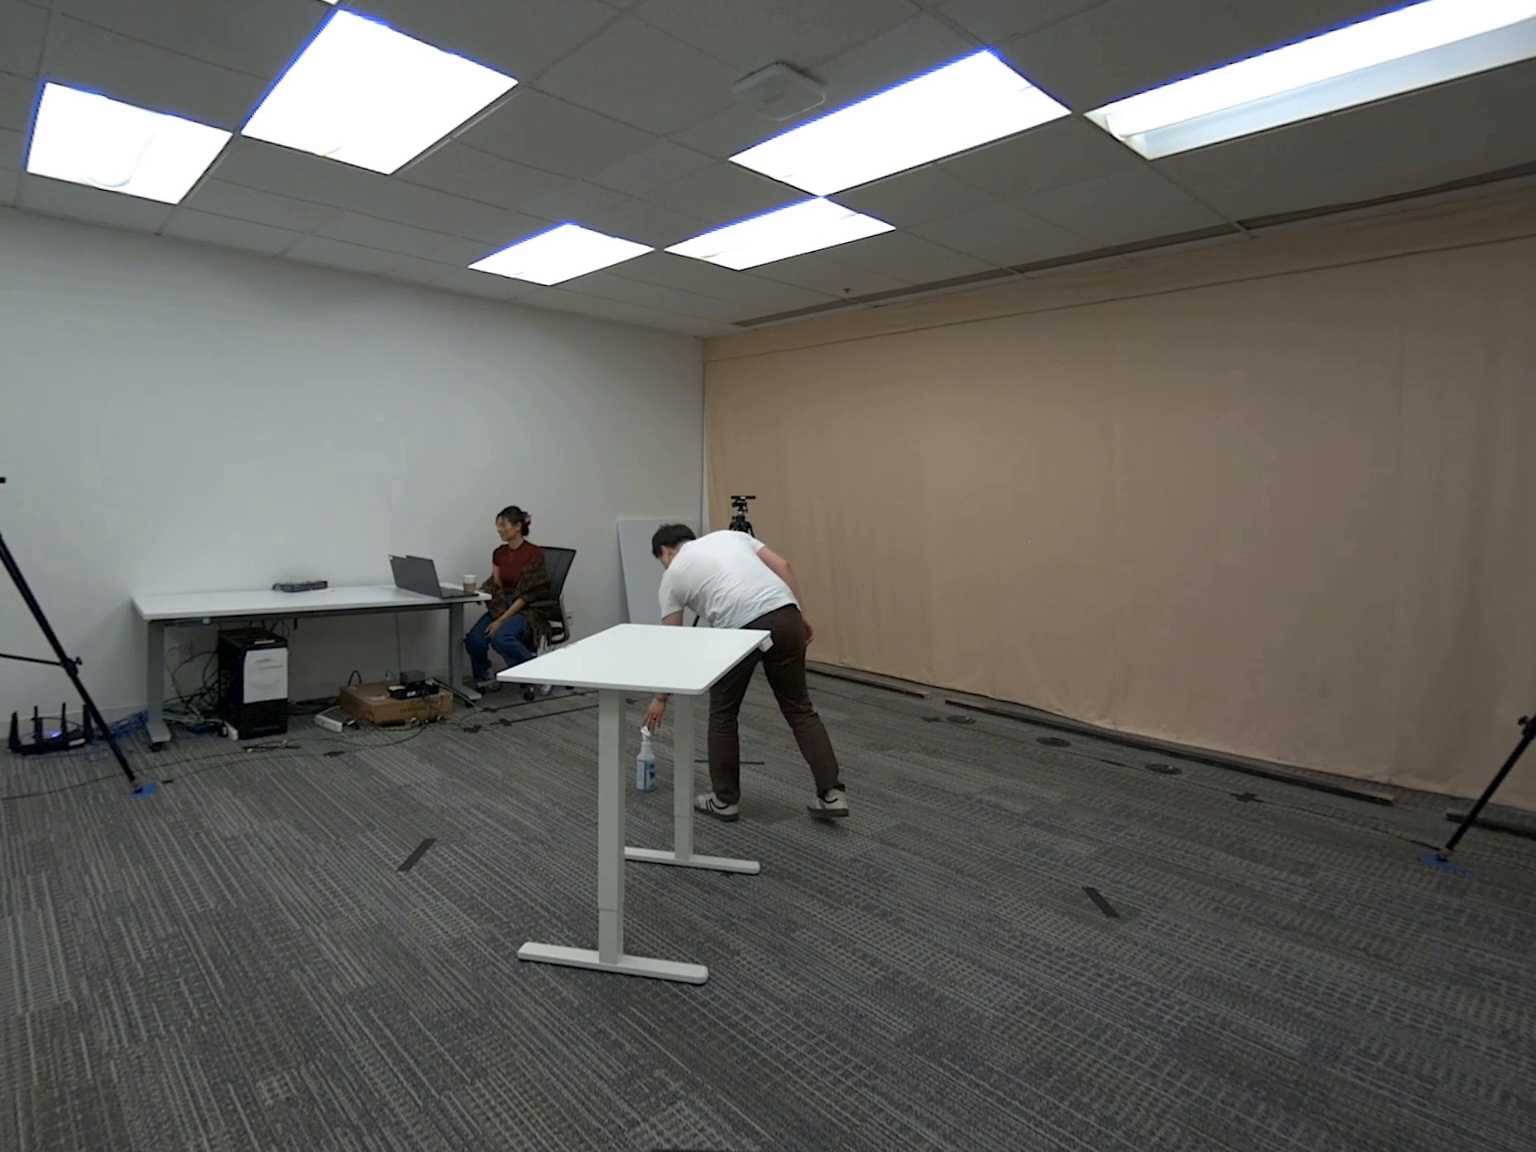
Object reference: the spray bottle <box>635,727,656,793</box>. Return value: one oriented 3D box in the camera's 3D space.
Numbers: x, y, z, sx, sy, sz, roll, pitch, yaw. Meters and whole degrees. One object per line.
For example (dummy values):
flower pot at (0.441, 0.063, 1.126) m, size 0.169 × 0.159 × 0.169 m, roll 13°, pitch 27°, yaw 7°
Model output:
spray bottle at (-0.583, 0.864, 3.992) m, size 0.087 × 0.297 × 0.090 m, roll 1°, pitch 1°, yaw -4°
